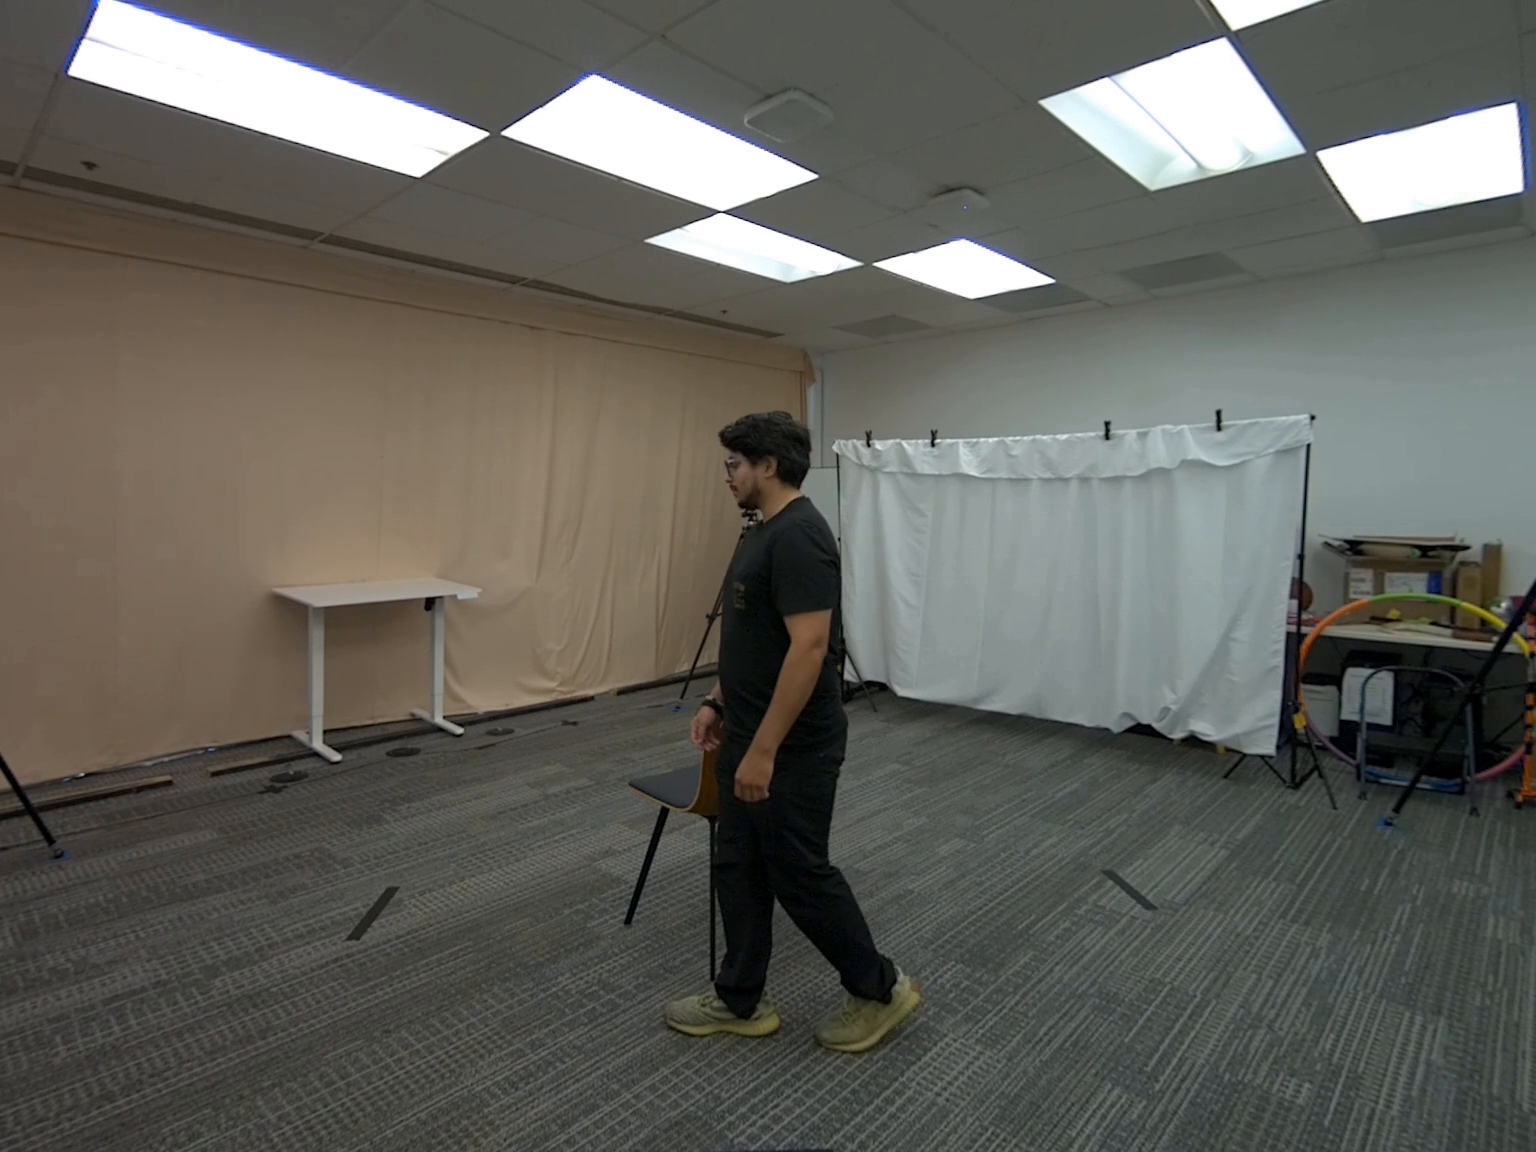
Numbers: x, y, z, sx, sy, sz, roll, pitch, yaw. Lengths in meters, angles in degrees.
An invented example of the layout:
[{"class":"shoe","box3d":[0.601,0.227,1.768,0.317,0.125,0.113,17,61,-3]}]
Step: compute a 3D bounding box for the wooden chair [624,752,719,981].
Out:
[{"class":"wooden chair","box3d":[-0.166,0.736,2.756,0.463,0.874,0.541,-3,9,-42]}]
